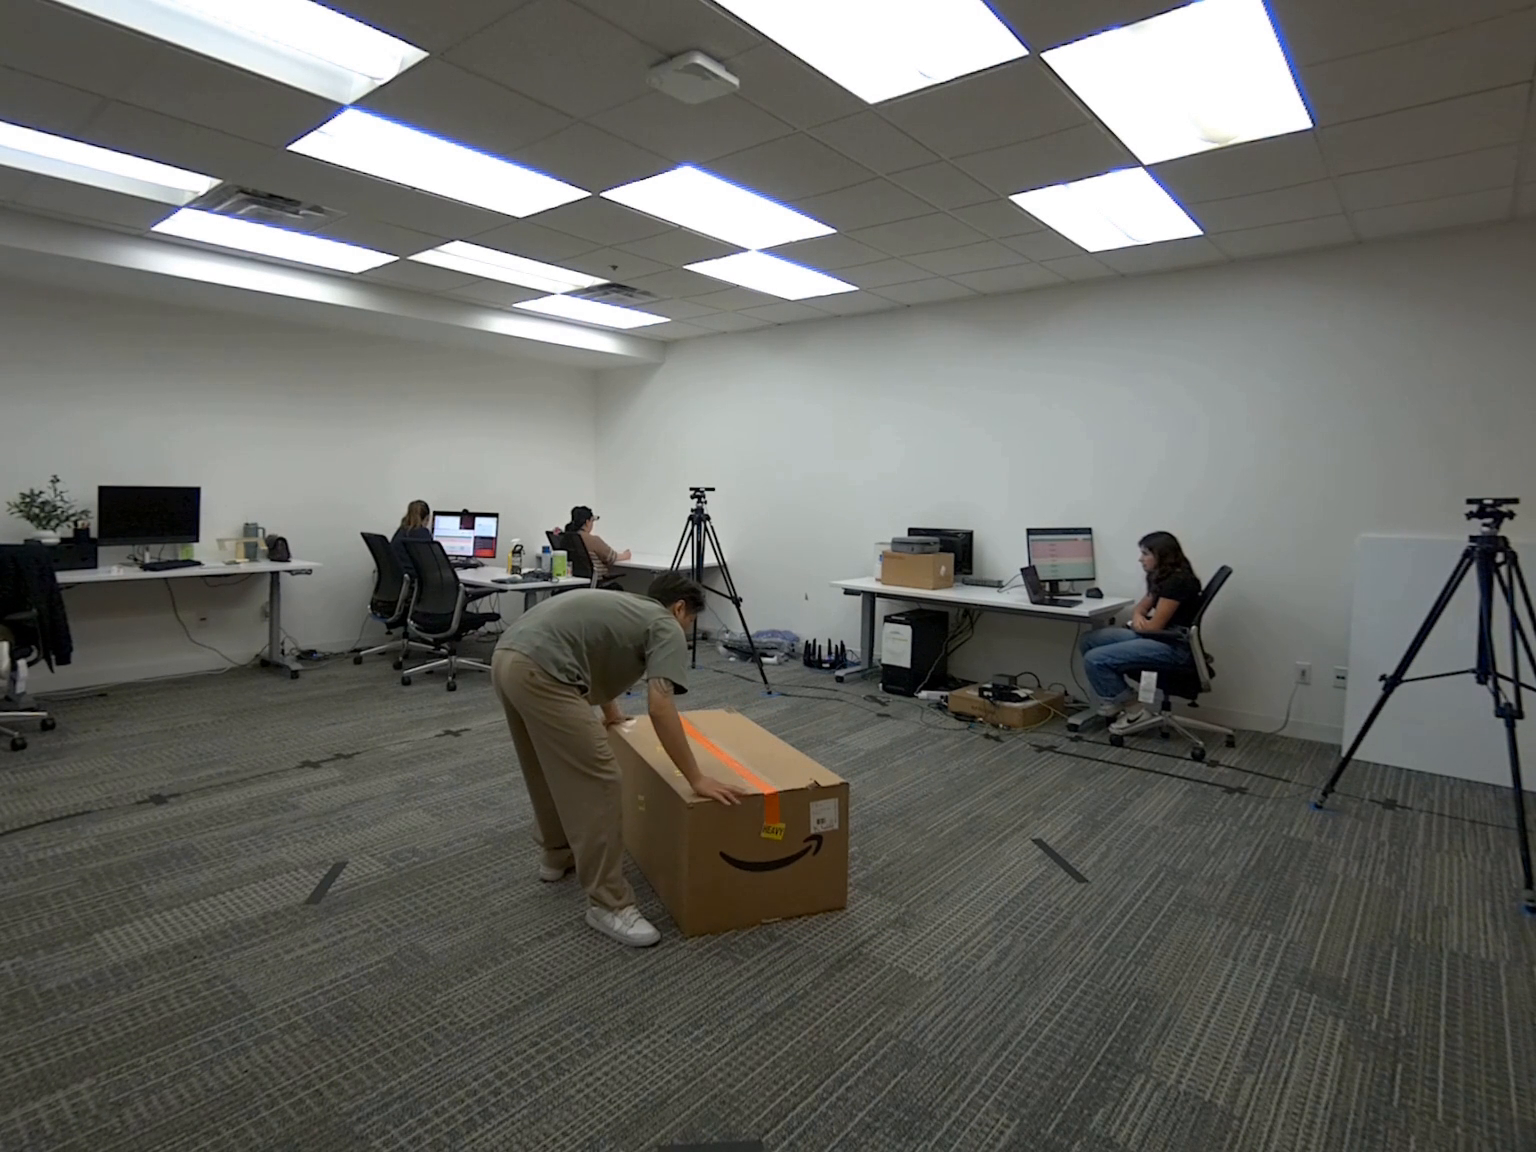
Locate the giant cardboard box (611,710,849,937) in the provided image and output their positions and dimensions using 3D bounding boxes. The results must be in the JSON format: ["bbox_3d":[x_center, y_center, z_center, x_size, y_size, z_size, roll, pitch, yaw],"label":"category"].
[{"bbox_3d":[-0.213,0.841,3.180,0.564,0.425,1.053,-1,6,-24],"label":"giant cardboard box"}]
